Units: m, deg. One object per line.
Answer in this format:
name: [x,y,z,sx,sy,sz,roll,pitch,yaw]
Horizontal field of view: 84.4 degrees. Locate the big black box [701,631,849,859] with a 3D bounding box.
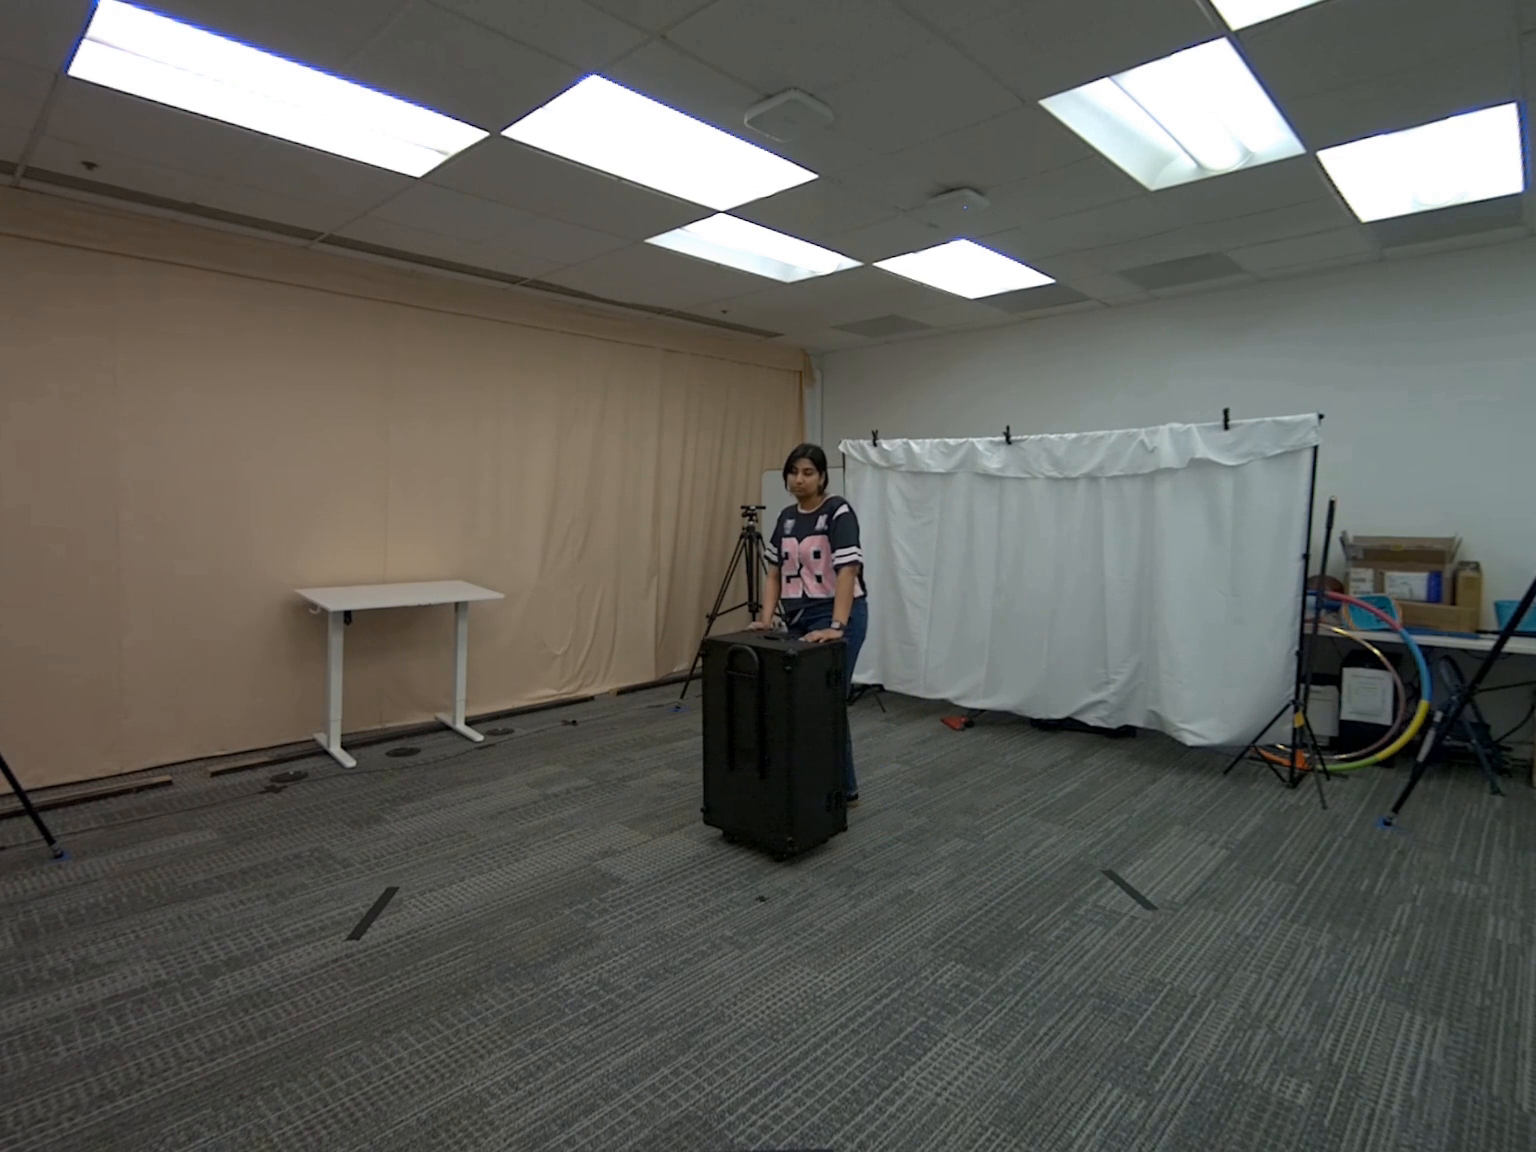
big black box: [0.030,0.685,3.437,0.541,0.866,0.373,3,5,42]
